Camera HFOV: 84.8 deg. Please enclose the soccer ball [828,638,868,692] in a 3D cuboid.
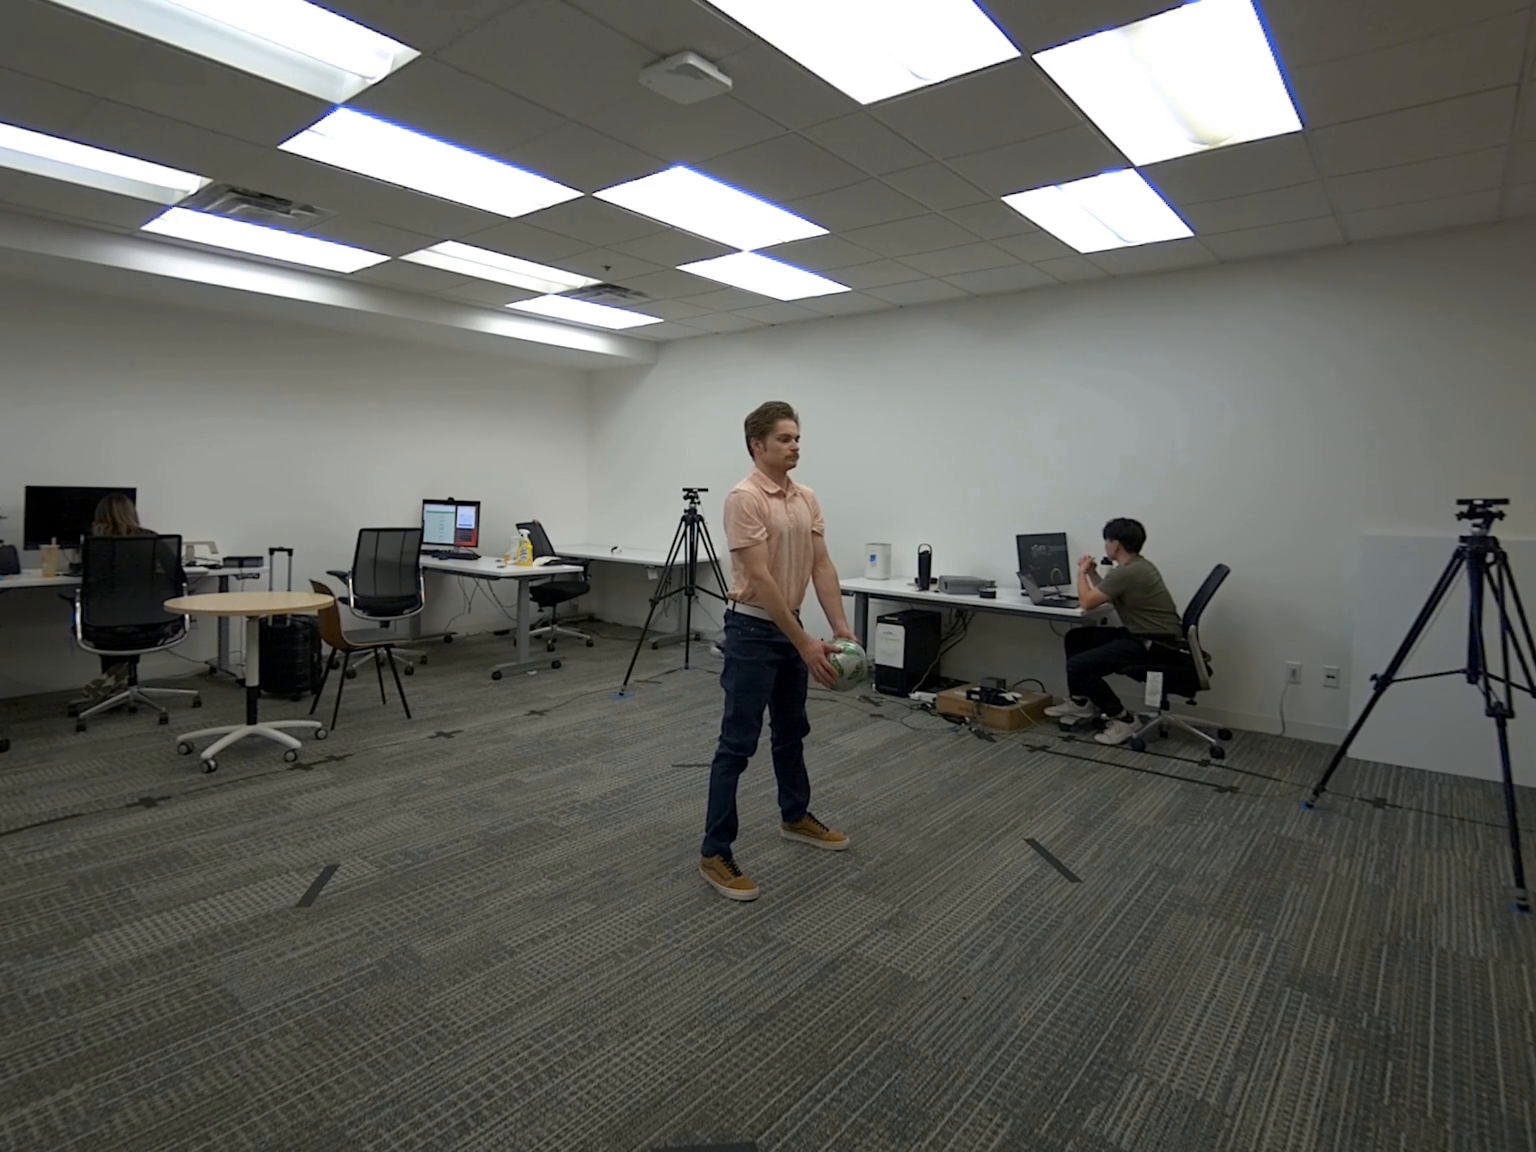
[{"bbox_3d":[0.253,0.308,2.961,0.187,0.187,0.188,1,4,-2],"label":"soccer ball"}]
